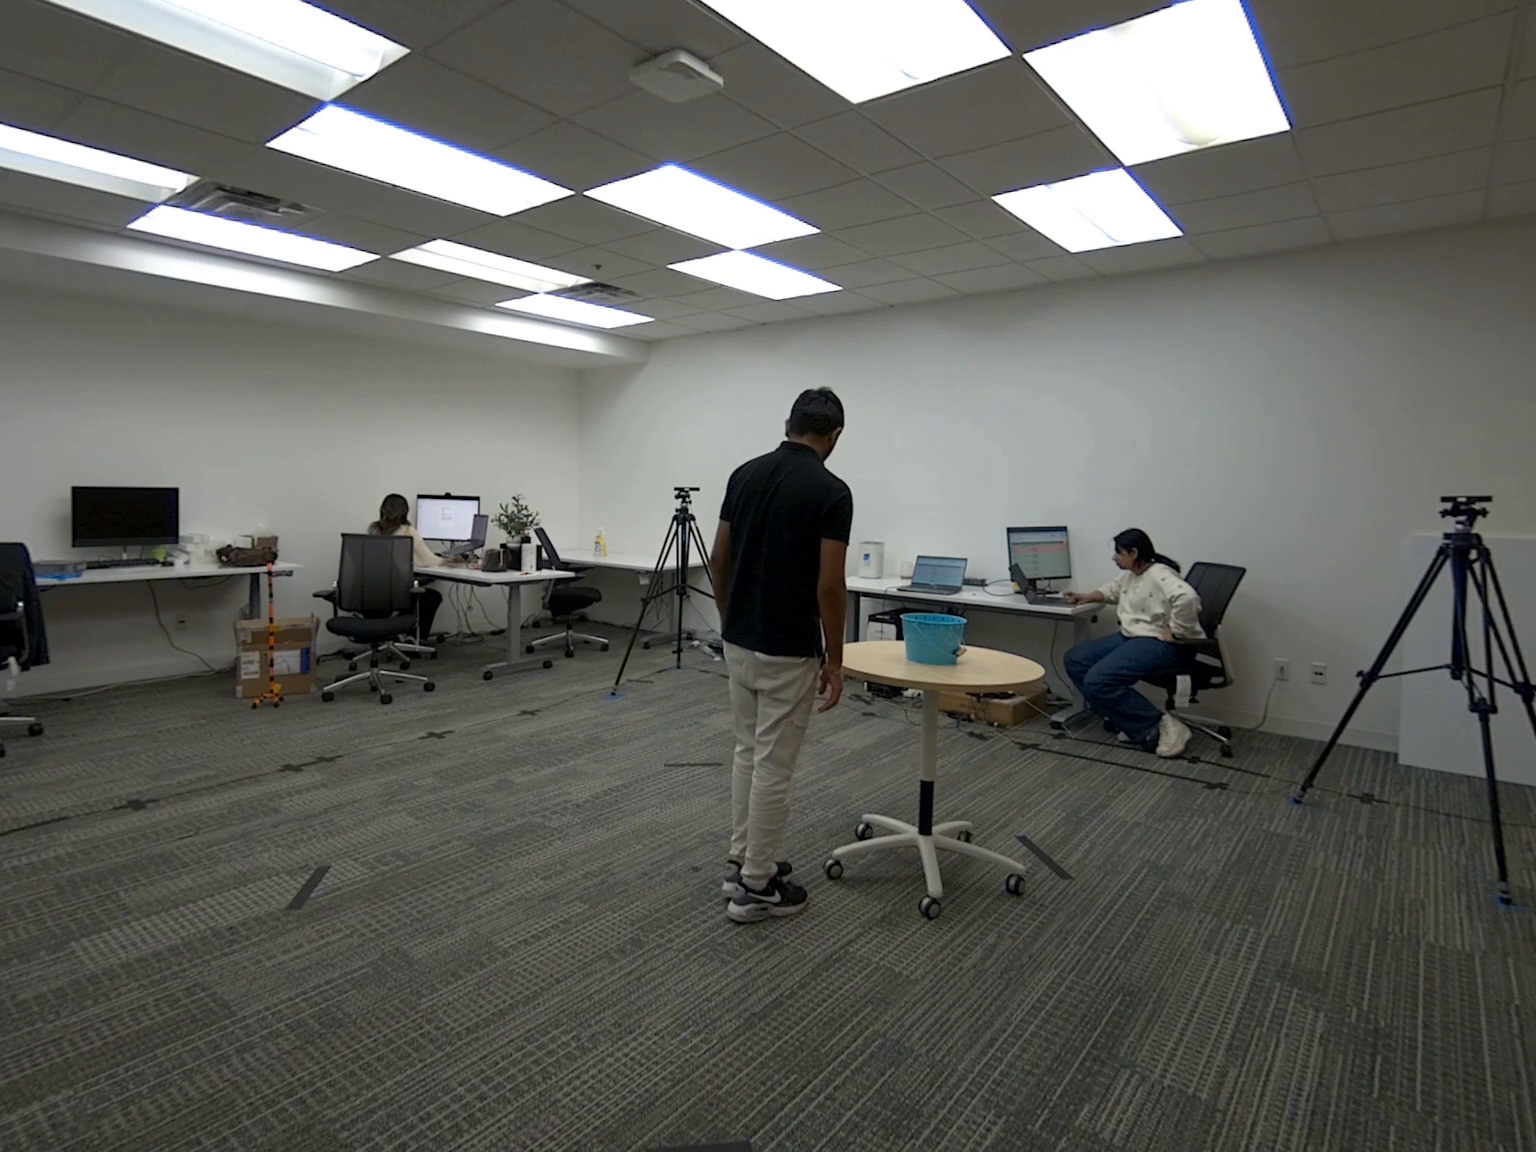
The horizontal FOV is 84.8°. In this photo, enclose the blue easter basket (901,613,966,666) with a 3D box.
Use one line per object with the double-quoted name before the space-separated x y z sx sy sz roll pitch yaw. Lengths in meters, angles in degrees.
"blue easter basket" 0.595 0.231 3.083 0.243 0.155 0.245 1 5 -2
